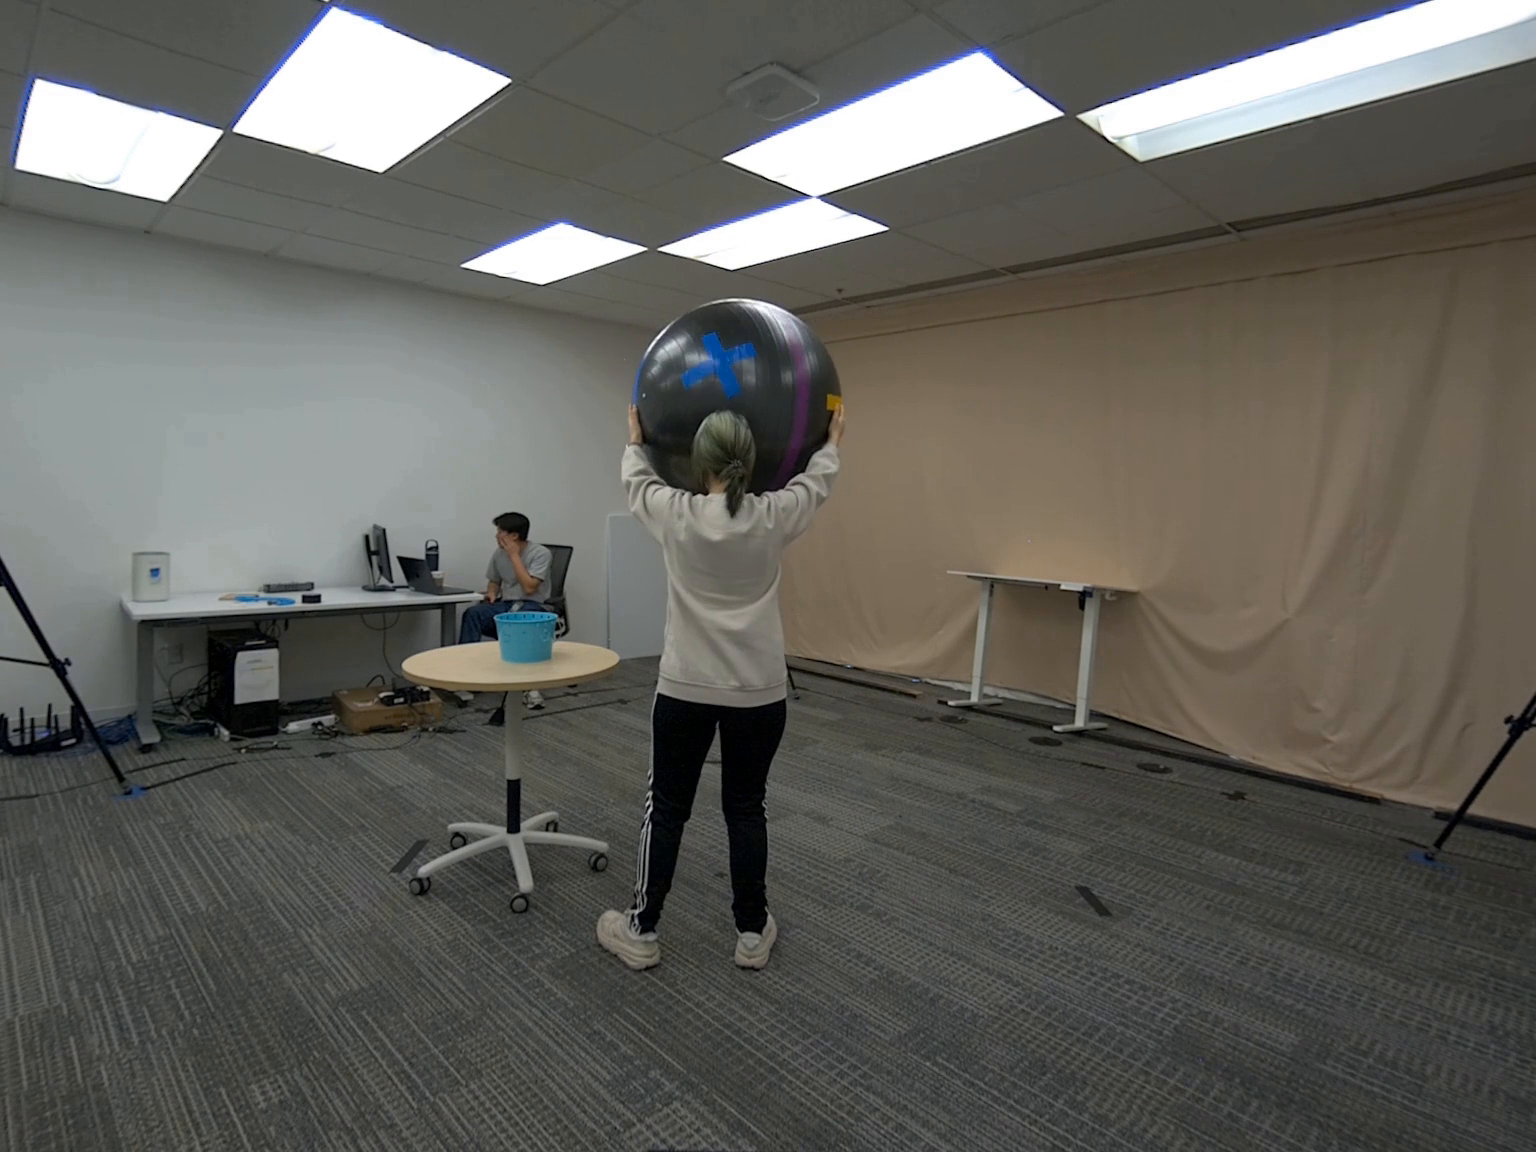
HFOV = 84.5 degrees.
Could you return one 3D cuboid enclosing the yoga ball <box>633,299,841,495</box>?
[{"bbox_3d":[-0.111,-0.596,3.039,0.757,0.756,0.761,1,4,-1],"label":"yoga ball"}]
